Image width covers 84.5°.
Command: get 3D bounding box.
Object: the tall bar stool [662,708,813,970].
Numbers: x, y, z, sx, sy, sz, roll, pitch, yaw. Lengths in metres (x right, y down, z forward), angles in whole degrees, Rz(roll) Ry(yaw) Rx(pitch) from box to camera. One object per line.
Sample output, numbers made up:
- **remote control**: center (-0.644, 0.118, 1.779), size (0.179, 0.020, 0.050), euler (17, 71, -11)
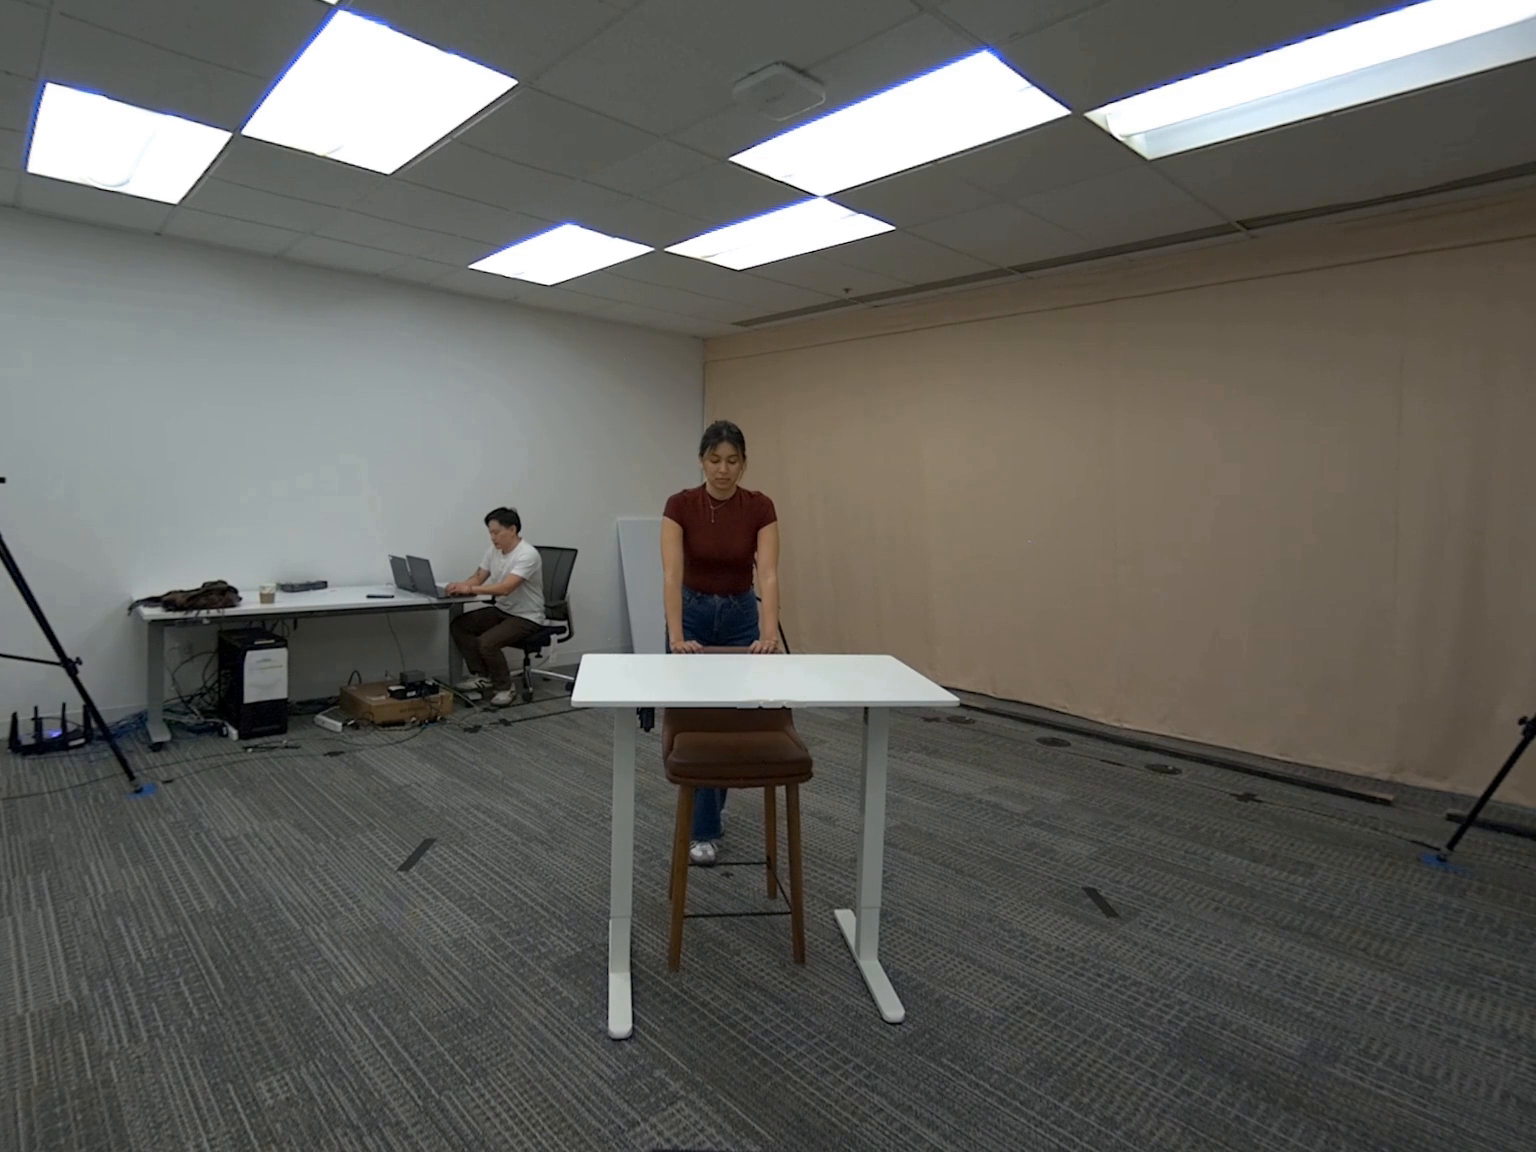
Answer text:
- **tall bar stool**: center (-0.119, 0.705, 2.695), size (0.454, 0.889, 0.471), euler (1, 2, -7)
